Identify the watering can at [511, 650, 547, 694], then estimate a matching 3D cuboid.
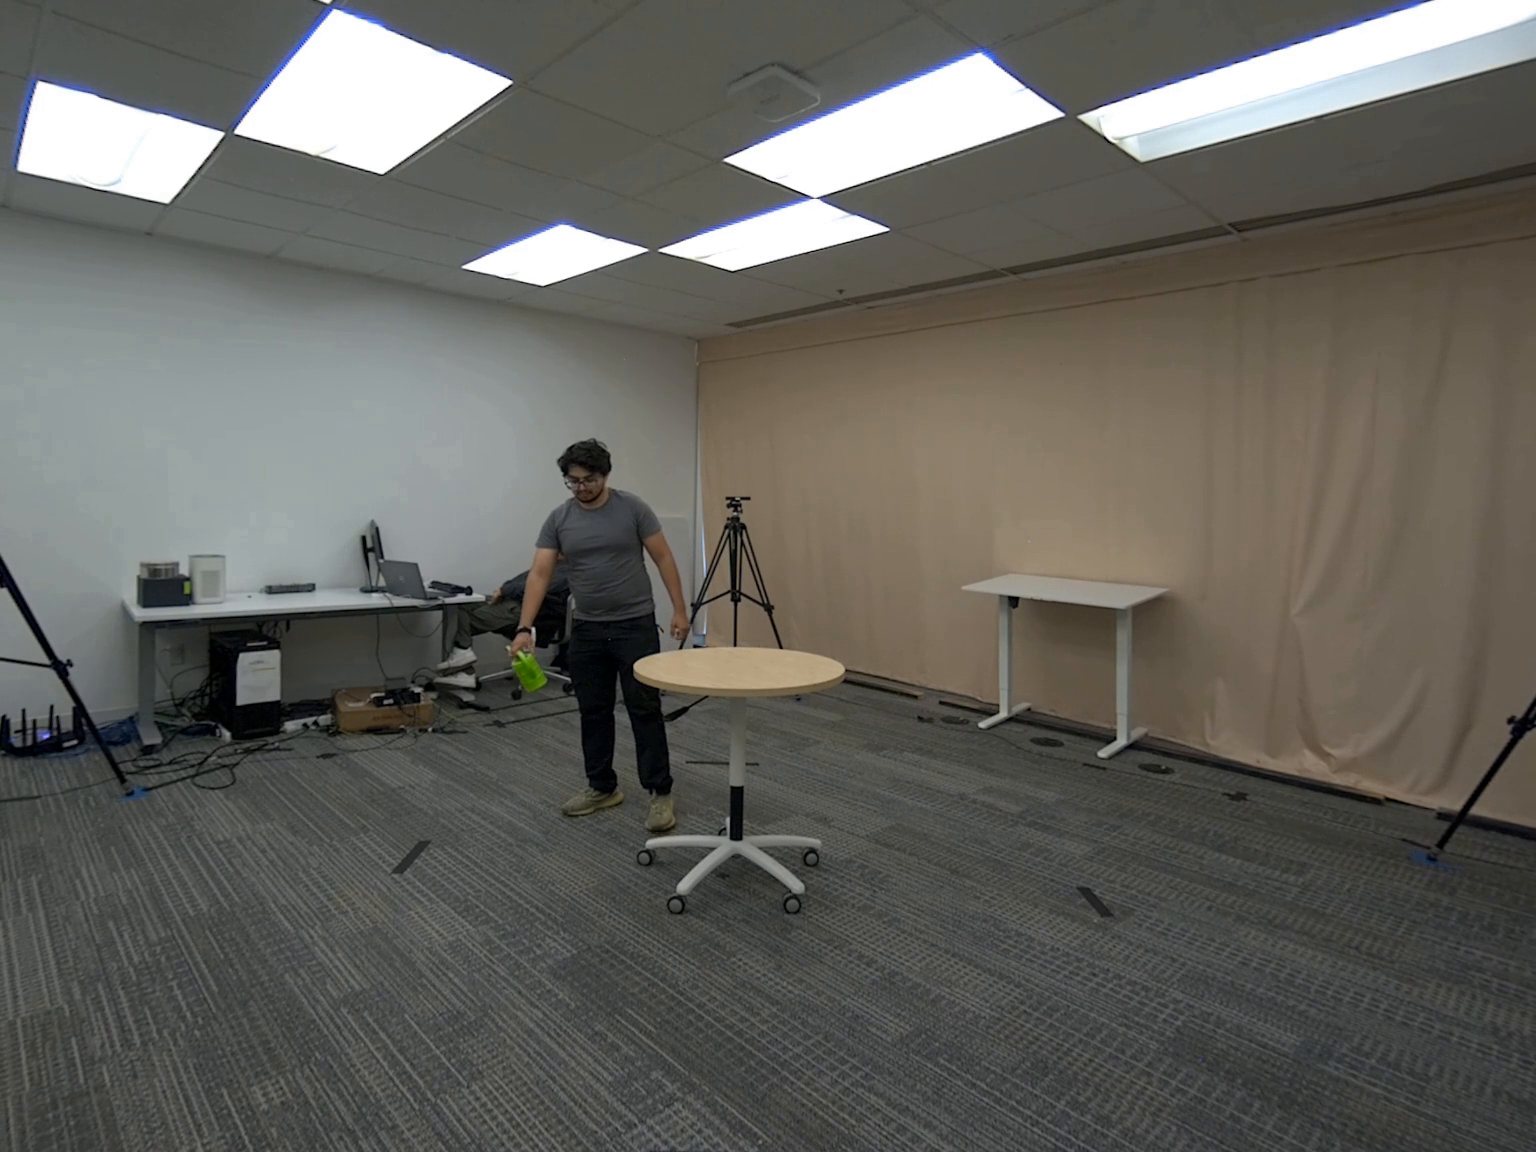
[{"bbox_3d":[-1.014,0.370,3.490,0.097,0.175,0.283,-27,13,-11],"label":"watering can"}]
